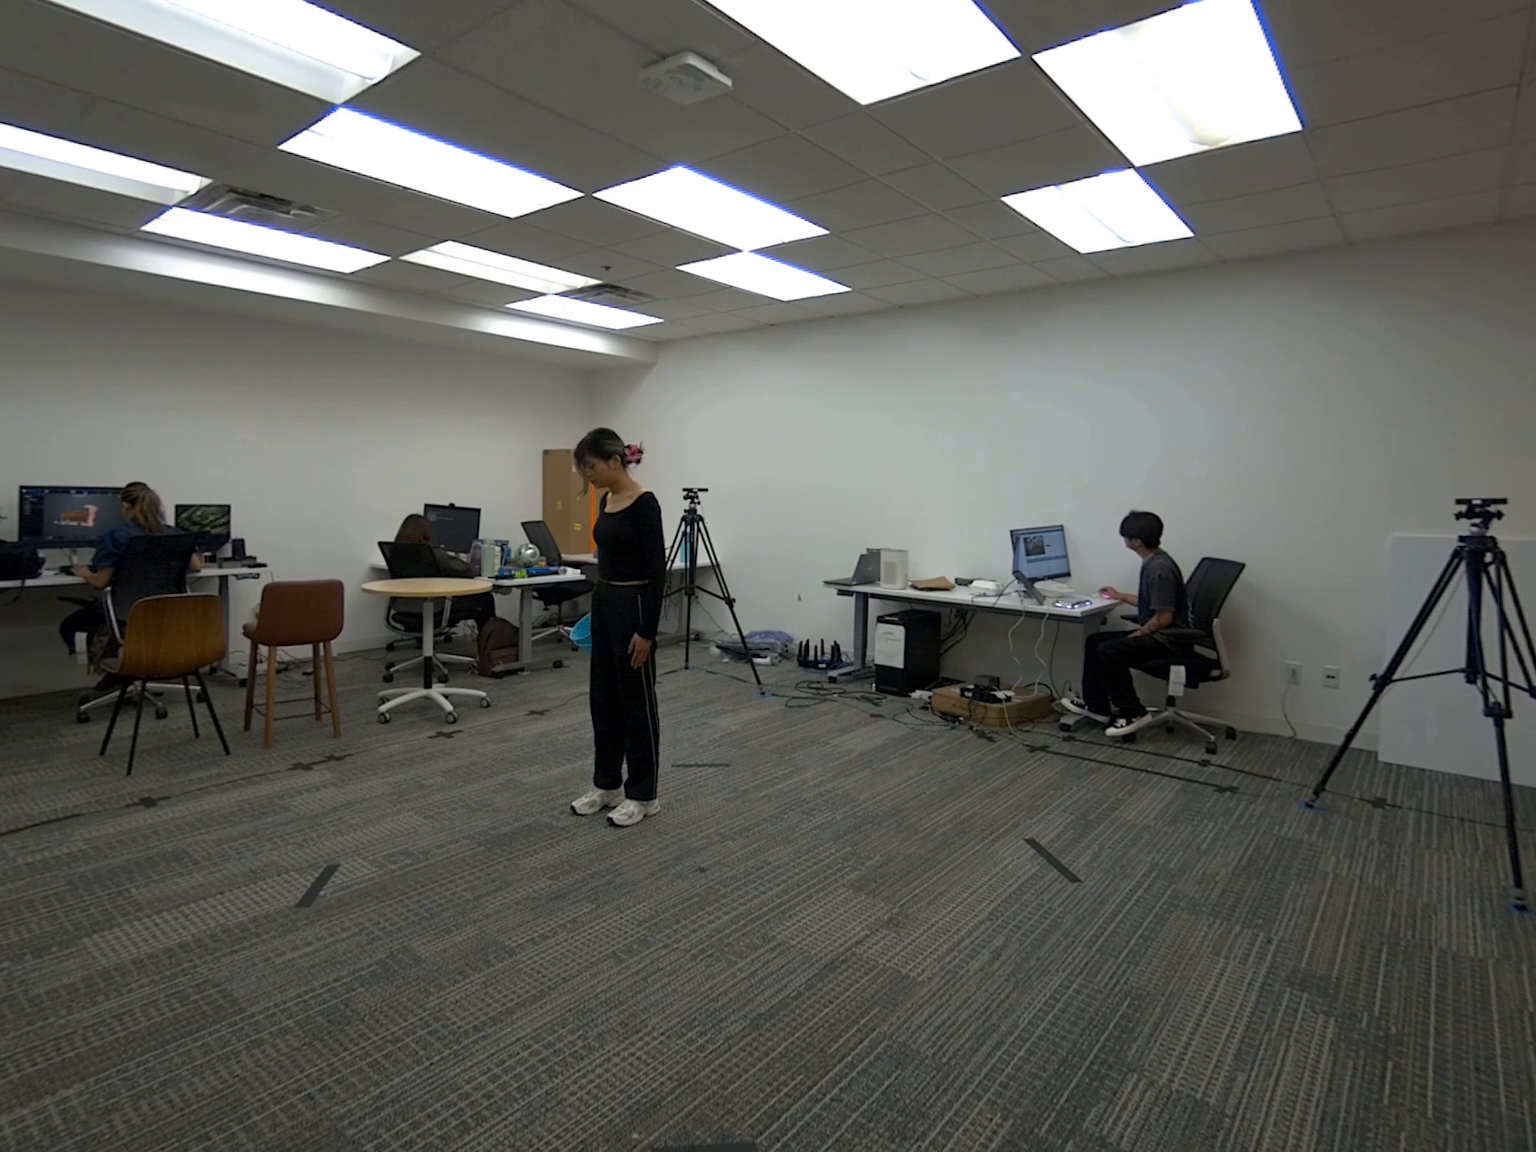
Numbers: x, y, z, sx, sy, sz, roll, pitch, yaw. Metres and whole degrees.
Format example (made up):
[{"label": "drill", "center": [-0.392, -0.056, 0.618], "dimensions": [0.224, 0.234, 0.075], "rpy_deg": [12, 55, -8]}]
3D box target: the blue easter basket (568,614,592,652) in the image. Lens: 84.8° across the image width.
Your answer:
[{"label": "blue easter basket", "center": [-0.816, 0.279, 4.005], "dimensions": [0.245, 0.152, 0.249], "rpy_deg": [-30, 21, 10]}]
